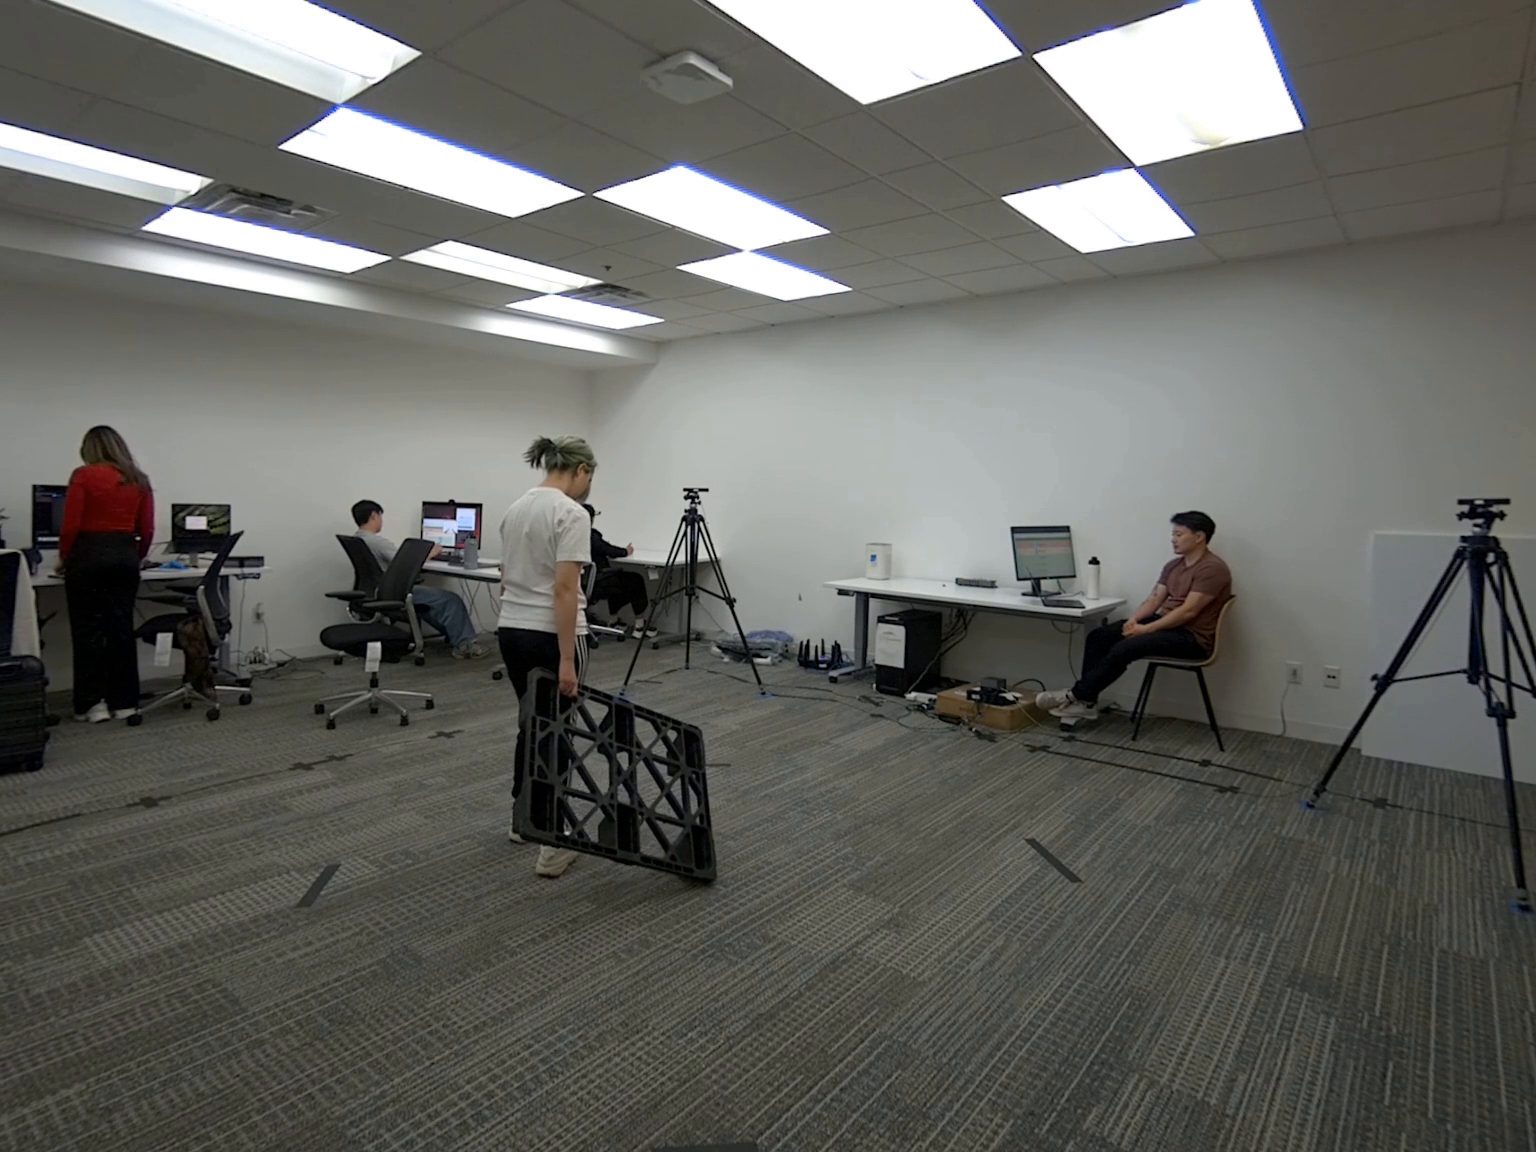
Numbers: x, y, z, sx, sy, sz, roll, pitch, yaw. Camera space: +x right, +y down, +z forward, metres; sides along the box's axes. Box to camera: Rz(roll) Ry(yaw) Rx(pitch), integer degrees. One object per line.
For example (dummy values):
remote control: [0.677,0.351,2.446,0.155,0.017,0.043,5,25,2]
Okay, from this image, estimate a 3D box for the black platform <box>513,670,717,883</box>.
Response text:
black platform: [-0.542,0.723,2.985,0.774,0.625,0.144,28,-52,-36]
